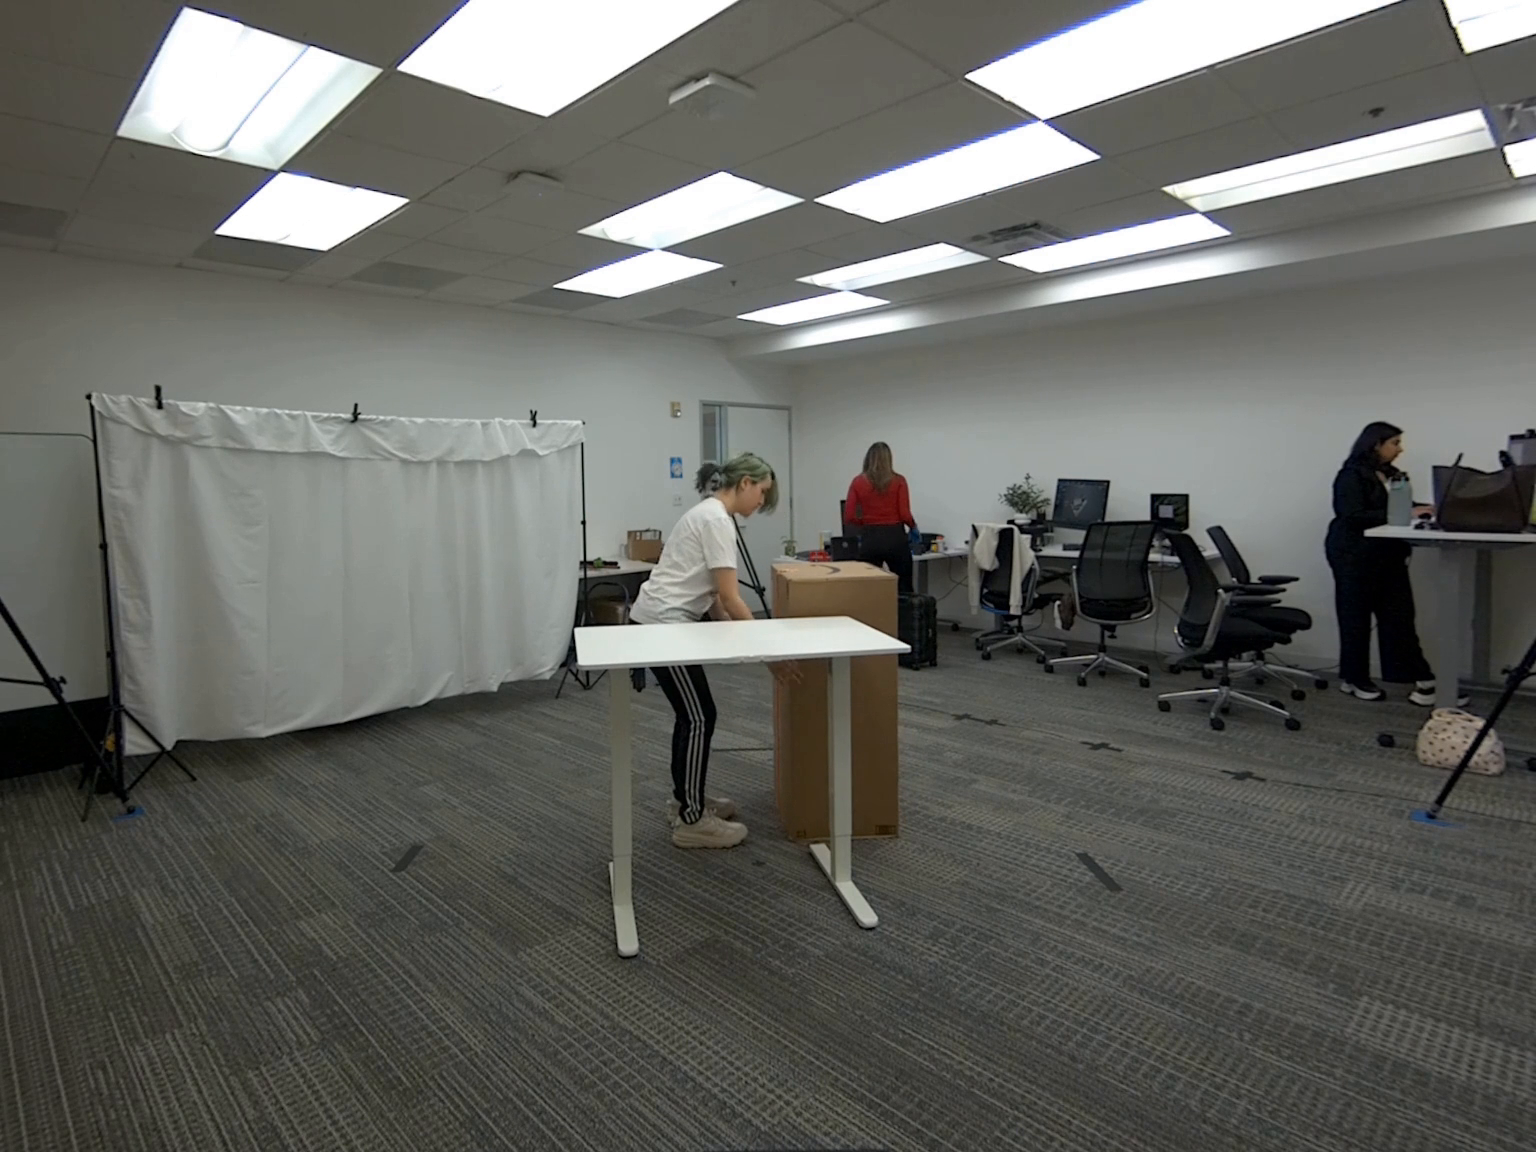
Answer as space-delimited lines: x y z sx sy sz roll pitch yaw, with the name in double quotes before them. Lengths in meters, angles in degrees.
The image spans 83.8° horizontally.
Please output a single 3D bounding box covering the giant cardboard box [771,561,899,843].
"giant cardboard box" 0.256 0.484 3.550 0.444 1.023 0.590 -1 5 -6
